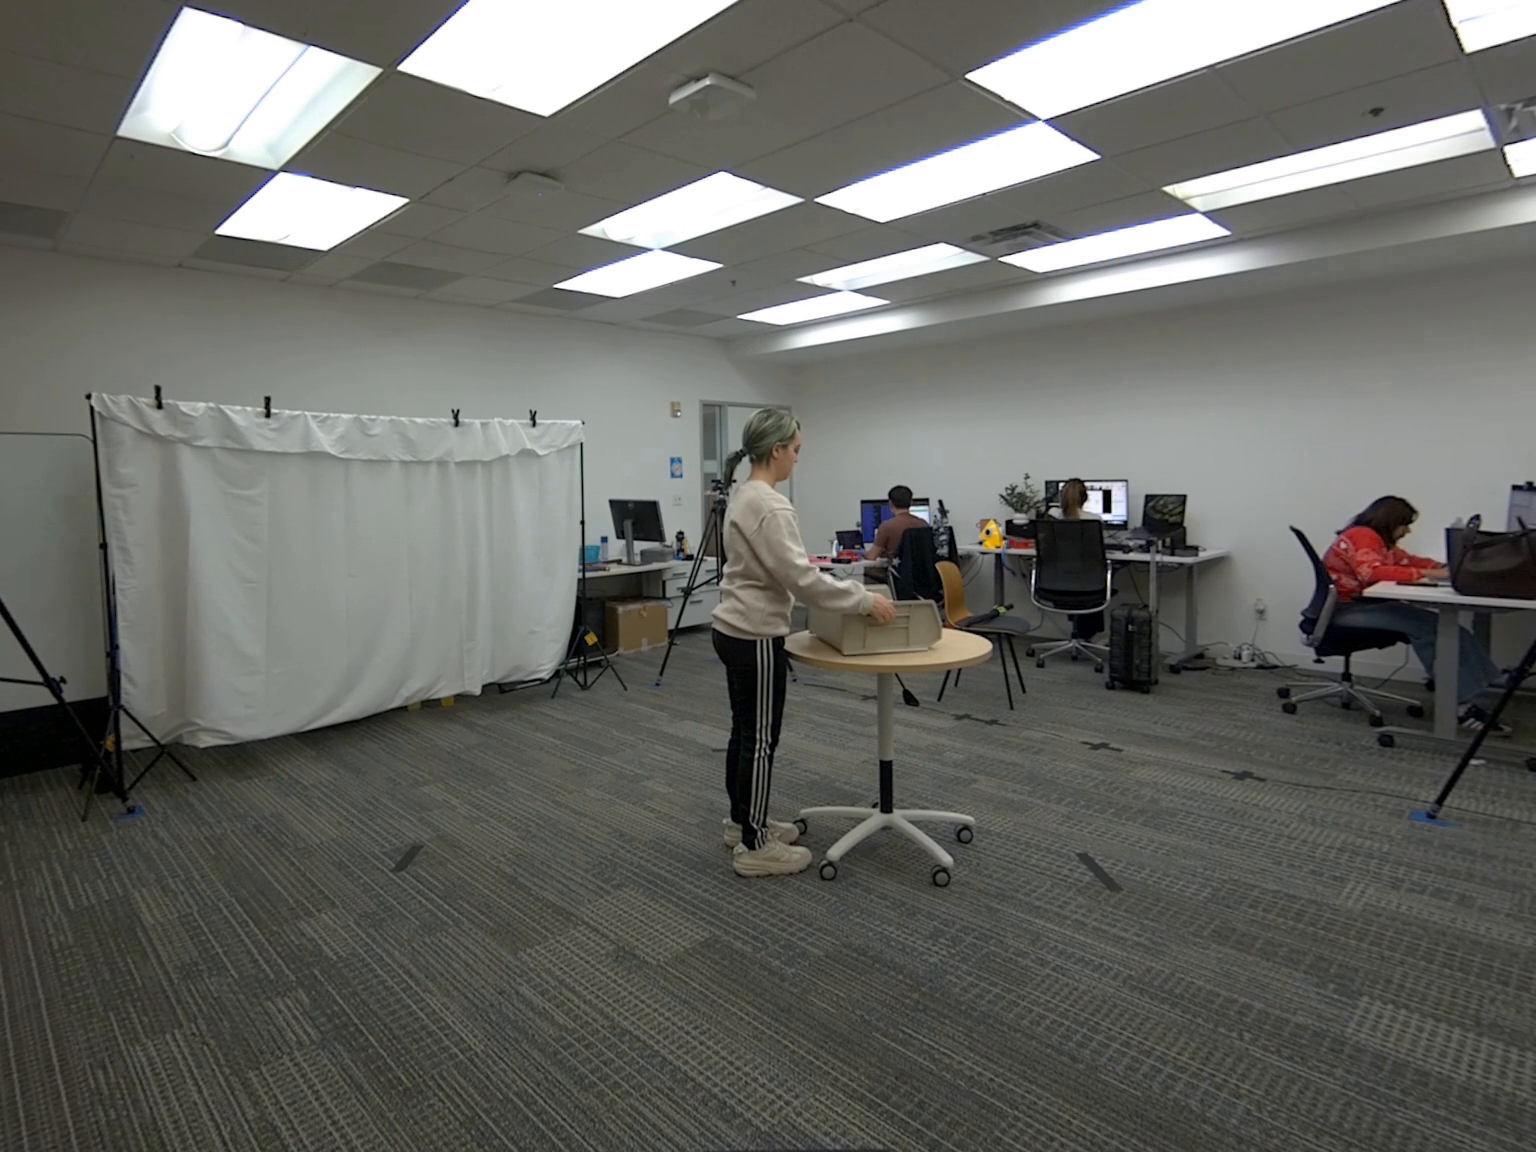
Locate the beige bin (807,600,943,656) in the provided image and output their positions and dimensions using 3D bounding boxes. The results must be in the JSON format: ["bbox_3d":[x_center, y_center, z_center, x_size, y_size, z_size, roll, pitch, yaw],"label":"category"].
[{"bbox_3d":[0.377,0.146,3.162,0.373,0.188,0.430,-2,7,-13],"label":"beige bin"}]
